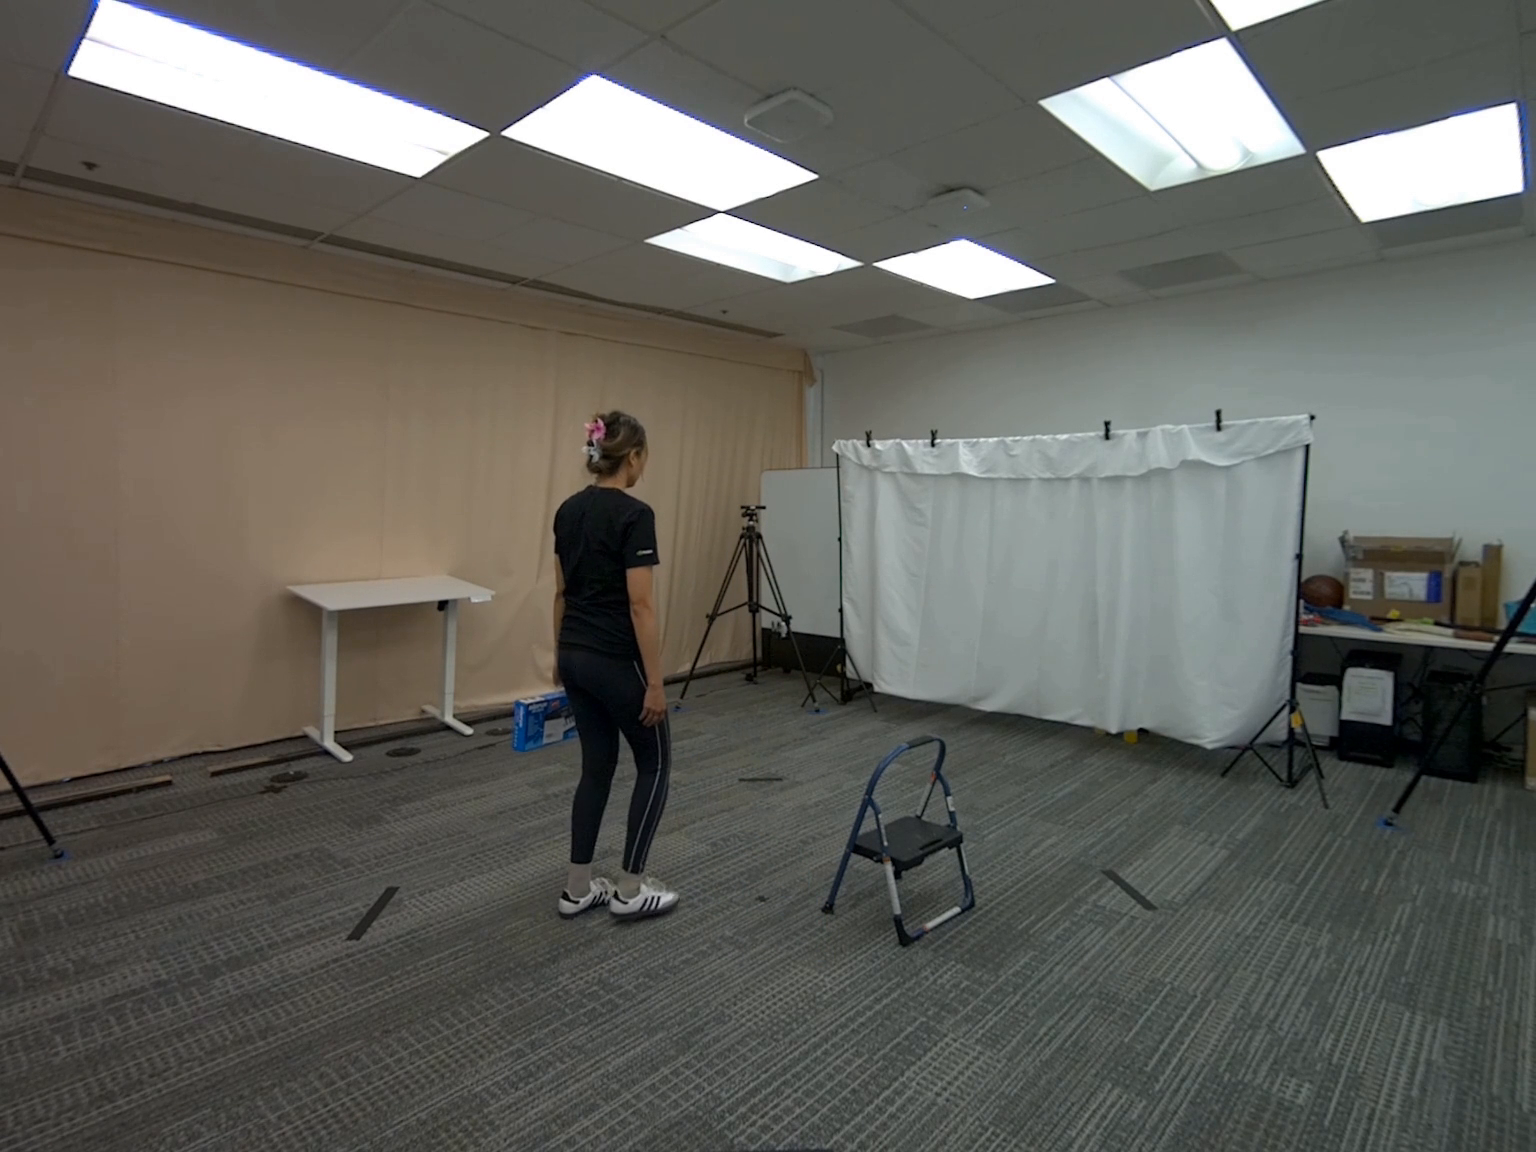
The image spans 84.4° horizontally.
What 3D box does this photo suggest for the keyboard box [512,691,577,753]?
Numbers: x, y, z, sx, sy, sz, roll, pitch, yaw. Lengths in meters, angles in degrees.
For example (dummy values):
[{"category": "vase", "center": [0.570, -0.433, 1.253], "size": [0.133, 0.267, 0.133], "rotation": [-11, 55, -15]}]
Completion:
[{"category": "keyboard box", "center": [-0.752, 0.516, 3.109], "size": [0.061, 0.175, 0.424], "rotation": [7, 5, 31]}]
